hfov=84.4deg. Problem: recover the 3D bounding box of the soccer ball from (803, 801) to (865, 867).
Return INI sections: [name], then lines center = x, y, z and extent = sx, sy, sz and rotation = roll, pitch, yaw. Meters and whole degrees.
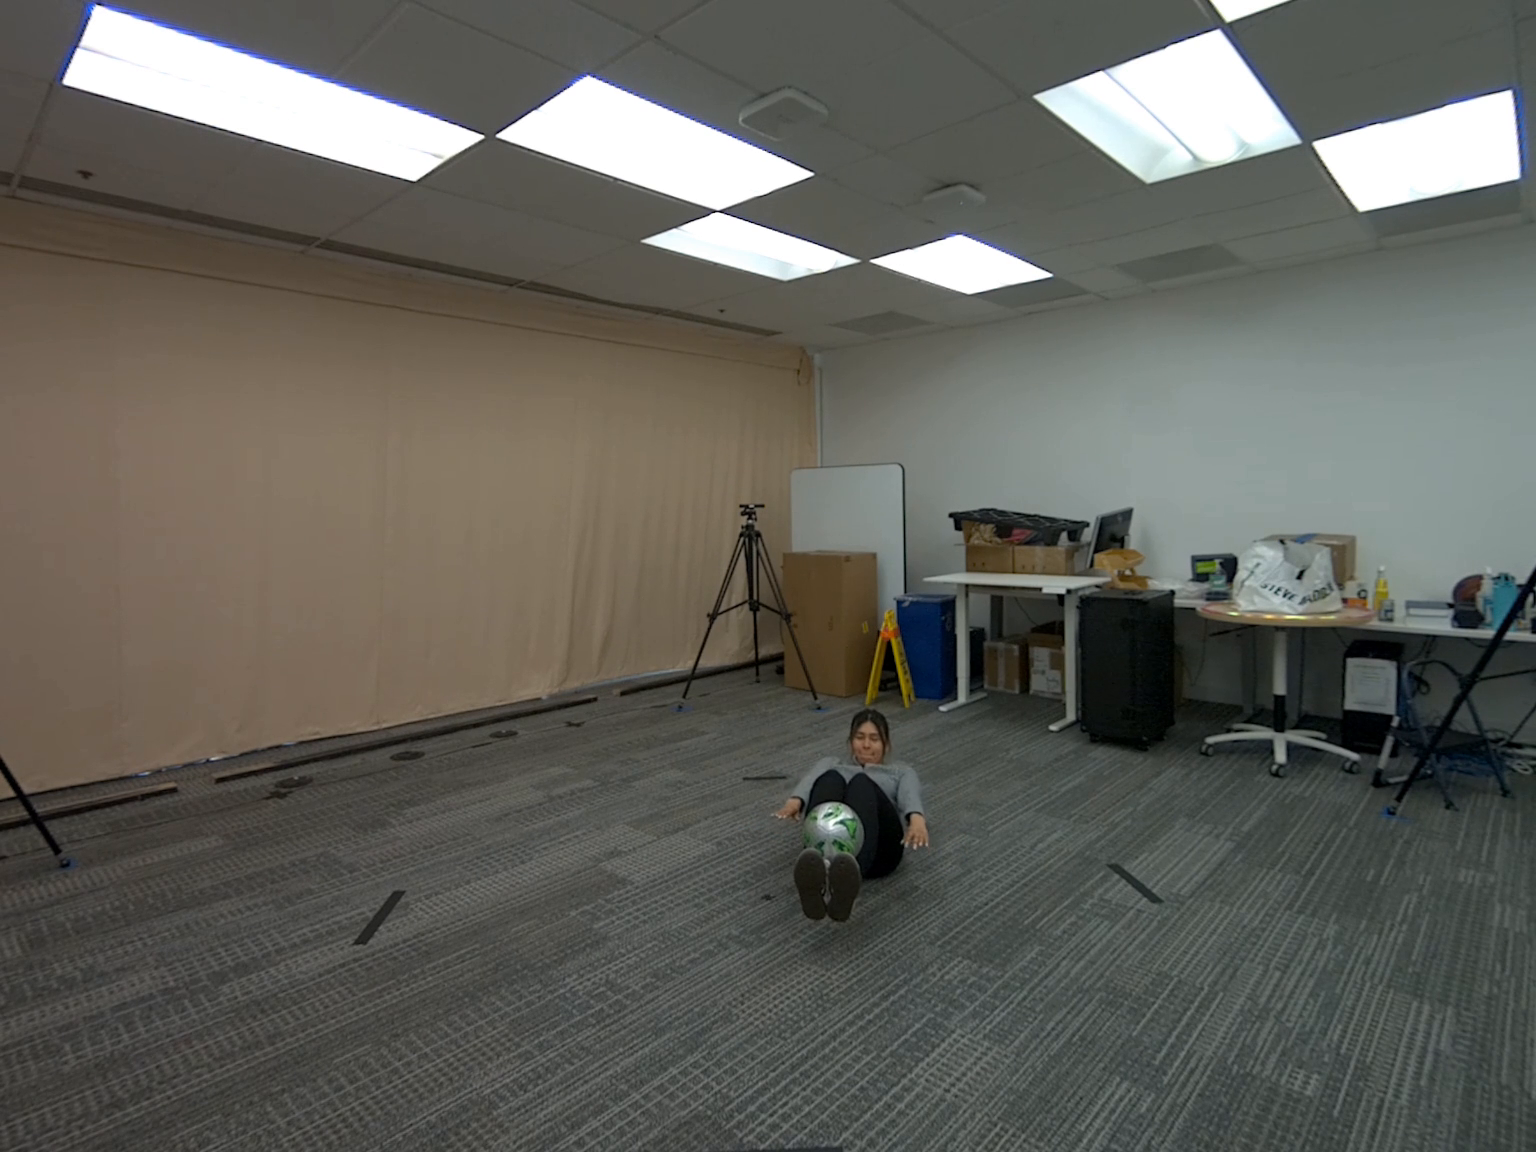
[soccer ball]
center = 0.206, 0.789, 2.591
extent = 0.187, 0.187, 0.188
rotation = -1, 4, -2
